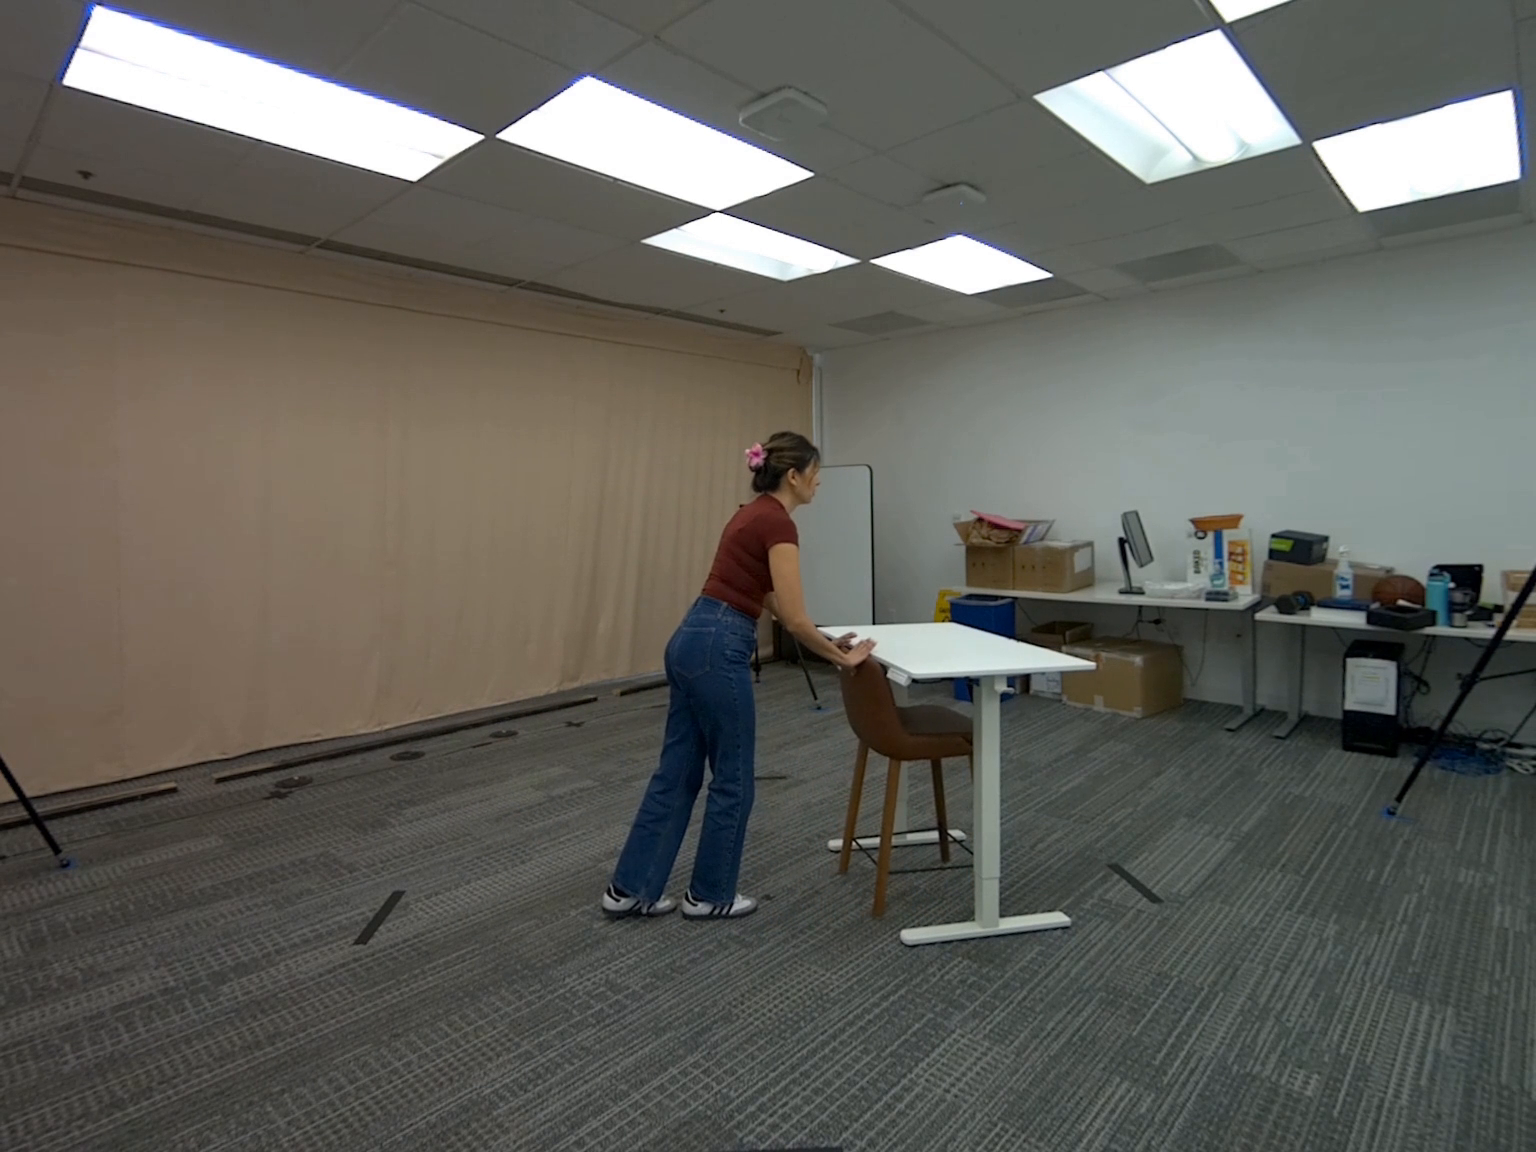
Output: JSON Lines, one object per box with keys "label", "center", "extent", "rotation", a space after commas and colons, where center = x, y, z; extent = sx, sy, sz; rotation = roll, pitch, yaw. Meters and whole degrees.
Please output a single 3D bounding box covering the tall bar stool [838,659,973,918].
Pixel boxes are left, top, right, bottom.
{"label": "tall bar stool", "center": [0.516, 0.700, 3.004], "extent": [0.463, 0.887, 0.463], "rotation": [-3, 5, -11]}
